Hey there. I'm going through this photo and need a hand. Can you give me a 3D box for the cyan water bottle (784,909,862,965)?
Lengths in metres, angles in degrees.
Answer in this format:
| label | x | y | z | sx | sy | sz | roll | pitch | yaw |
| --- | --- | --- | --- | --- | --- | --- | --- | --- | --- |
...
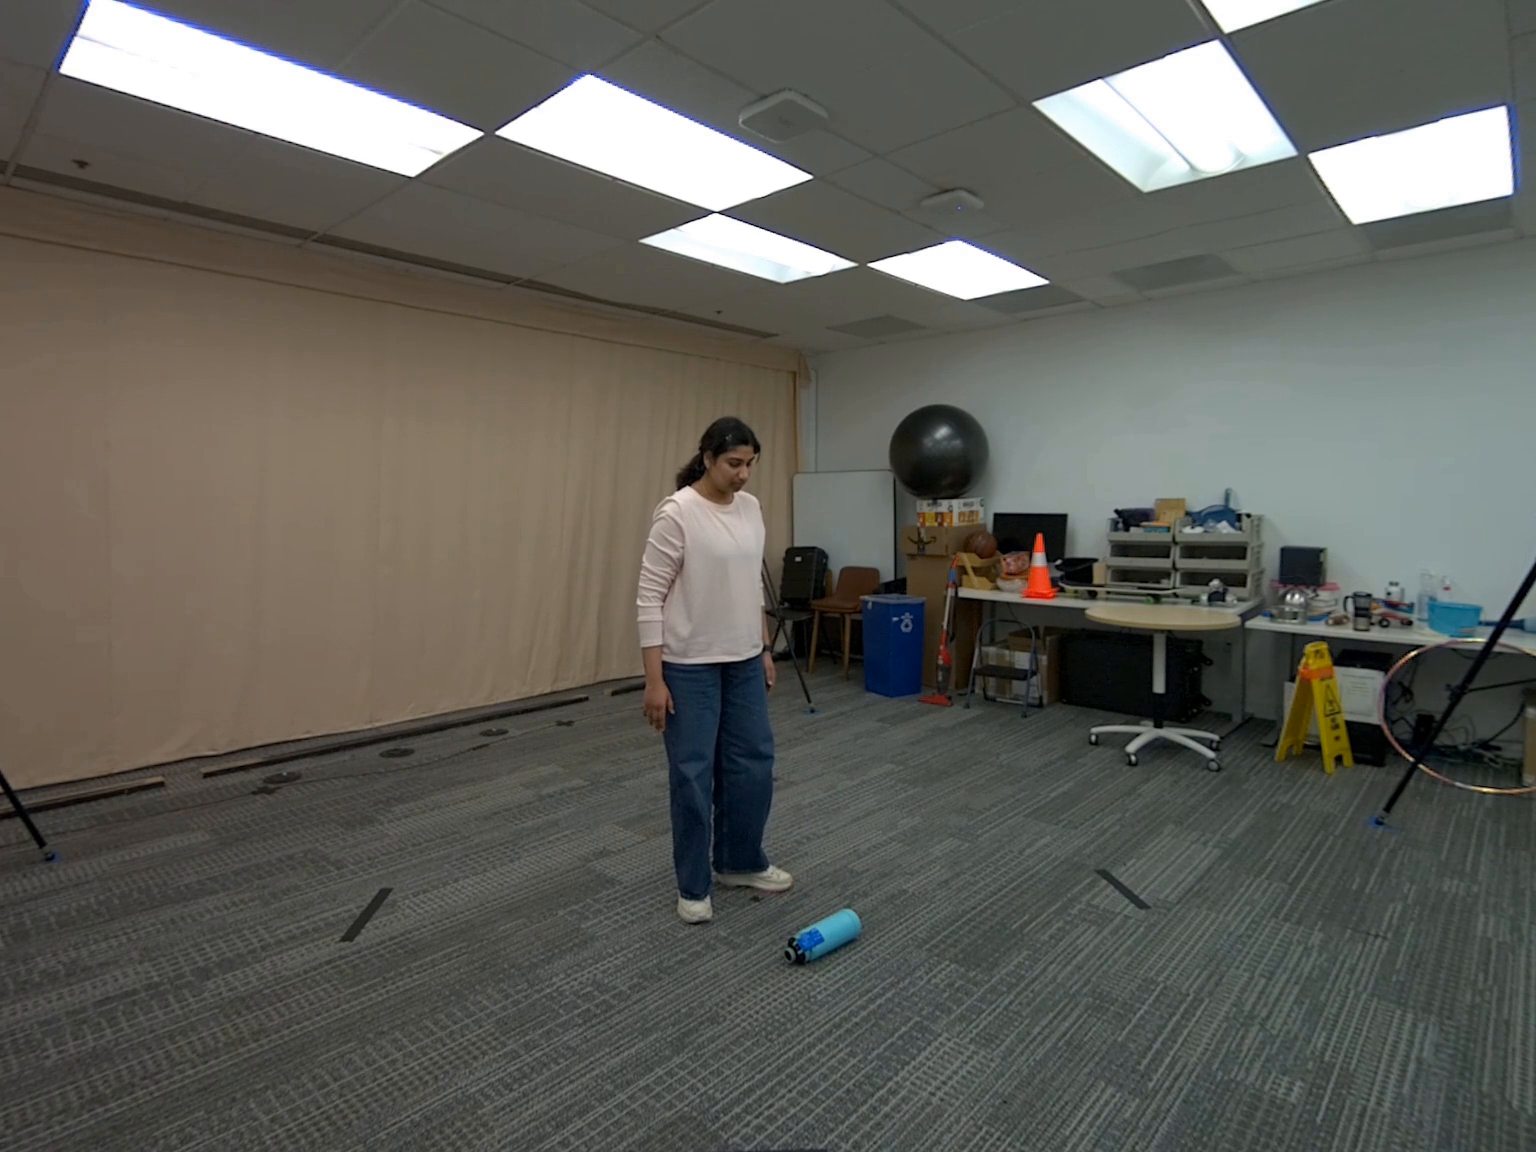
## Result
| label | x | y | z | sx | sy | sz | roll | pitch | yaw |
| --- | --- | --- | --- | --- | --- | --- | --- | --- | --- |
| cyan water bottle | 0.175 | 1.126 | 2.628 | 0.275 | 0.092 | 0.095 | -4 | 5 | -42 |
